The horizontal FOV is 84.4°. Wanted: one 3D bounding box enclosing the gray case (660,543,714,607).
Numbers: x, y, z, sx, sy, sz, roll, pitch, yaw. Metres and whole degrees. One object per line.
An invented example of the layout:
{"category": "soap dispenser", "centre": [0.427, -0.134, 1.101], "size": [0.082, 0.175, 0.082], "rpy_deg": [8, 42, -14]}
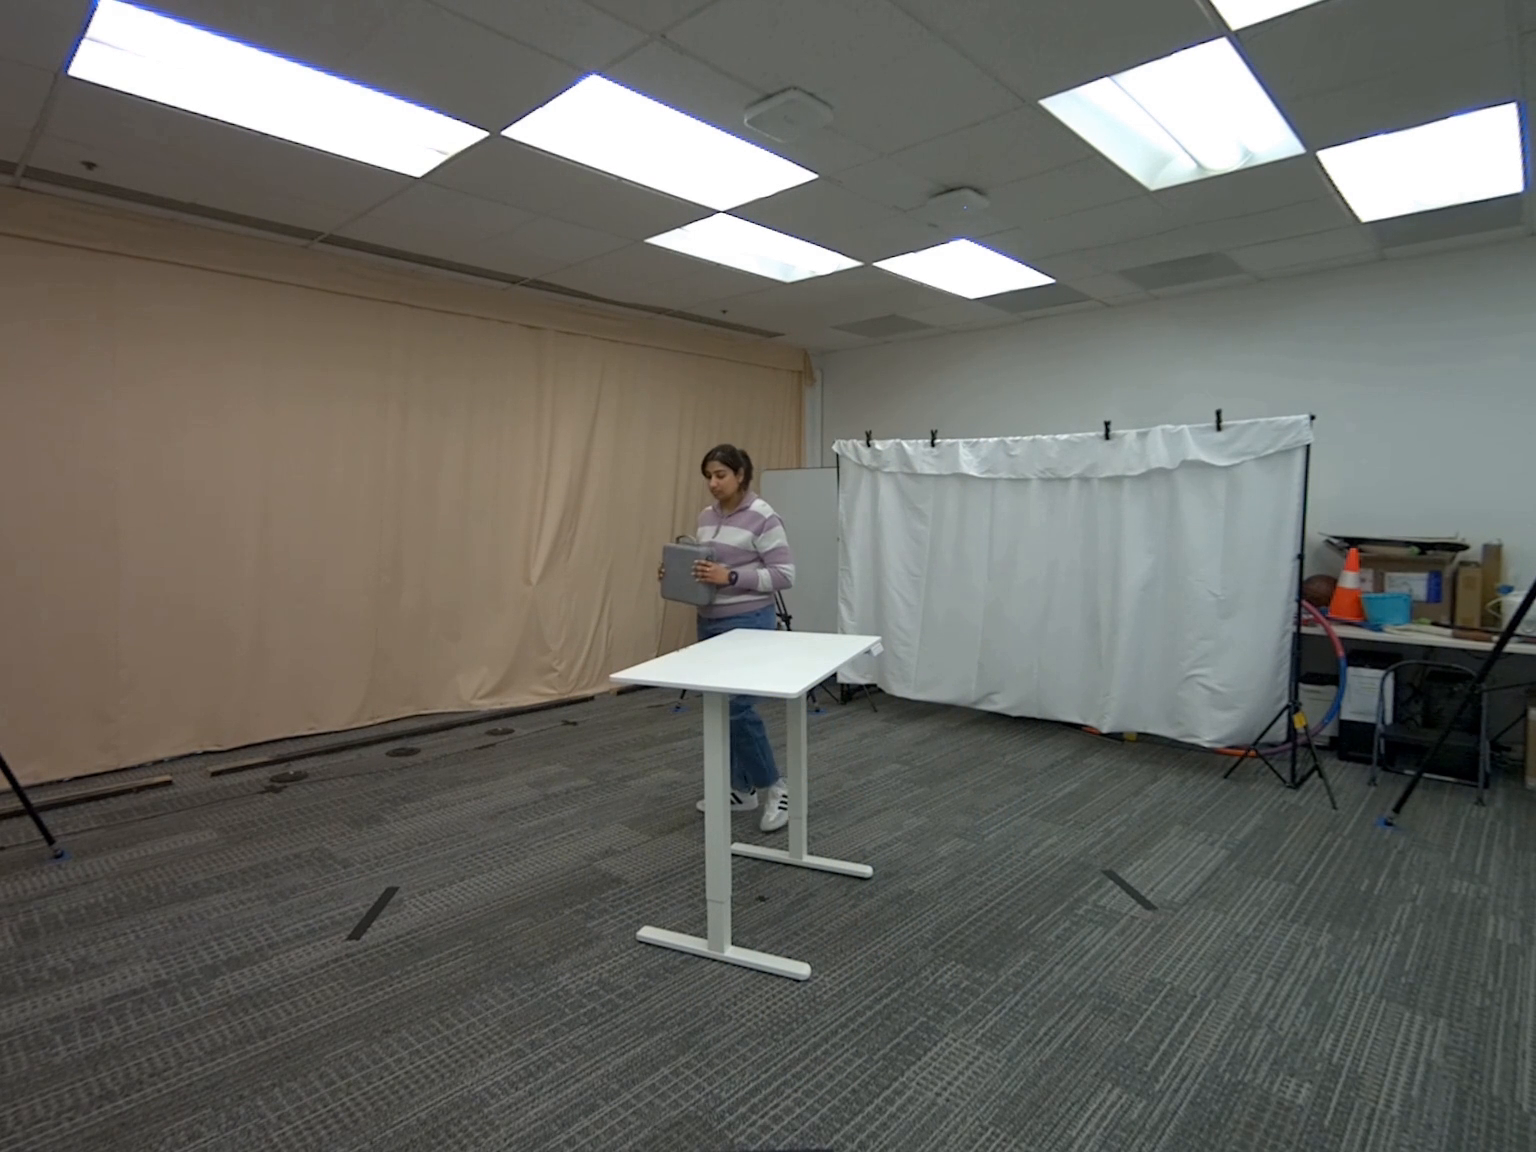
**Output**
{"category": "gray case", "centre": [-0.343, -0.012, 3.627], "size": [0.265, 0.259, 0.101], "rpy_deg": [9, 11, 34]}
